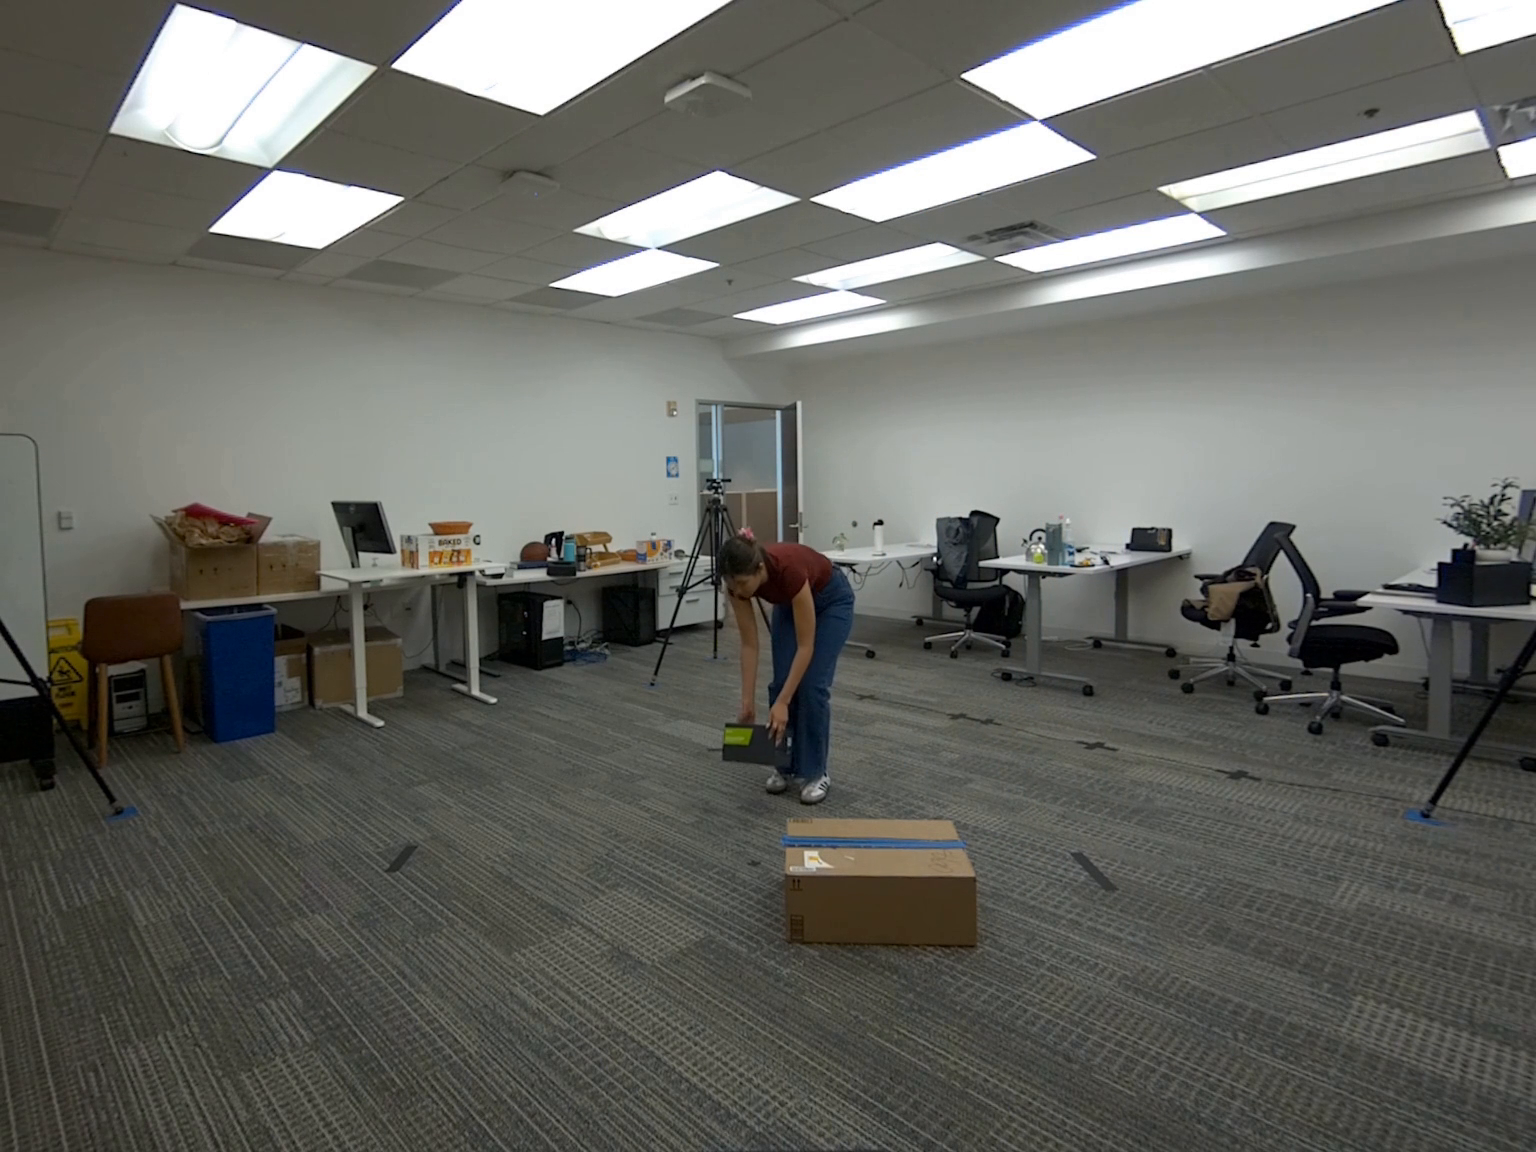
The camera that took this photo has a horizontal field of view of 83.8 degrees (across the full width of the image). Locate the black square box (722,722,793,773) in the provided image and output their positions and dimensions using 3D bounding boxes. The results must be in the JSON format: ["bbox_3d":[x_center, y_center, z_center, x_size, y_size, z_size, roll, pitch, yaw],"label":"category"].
[{"bbox_3d":[-0.048,0.707,3.591,0.233,0.158,0.210,-1,-15,23],"label":"black square box"}]
